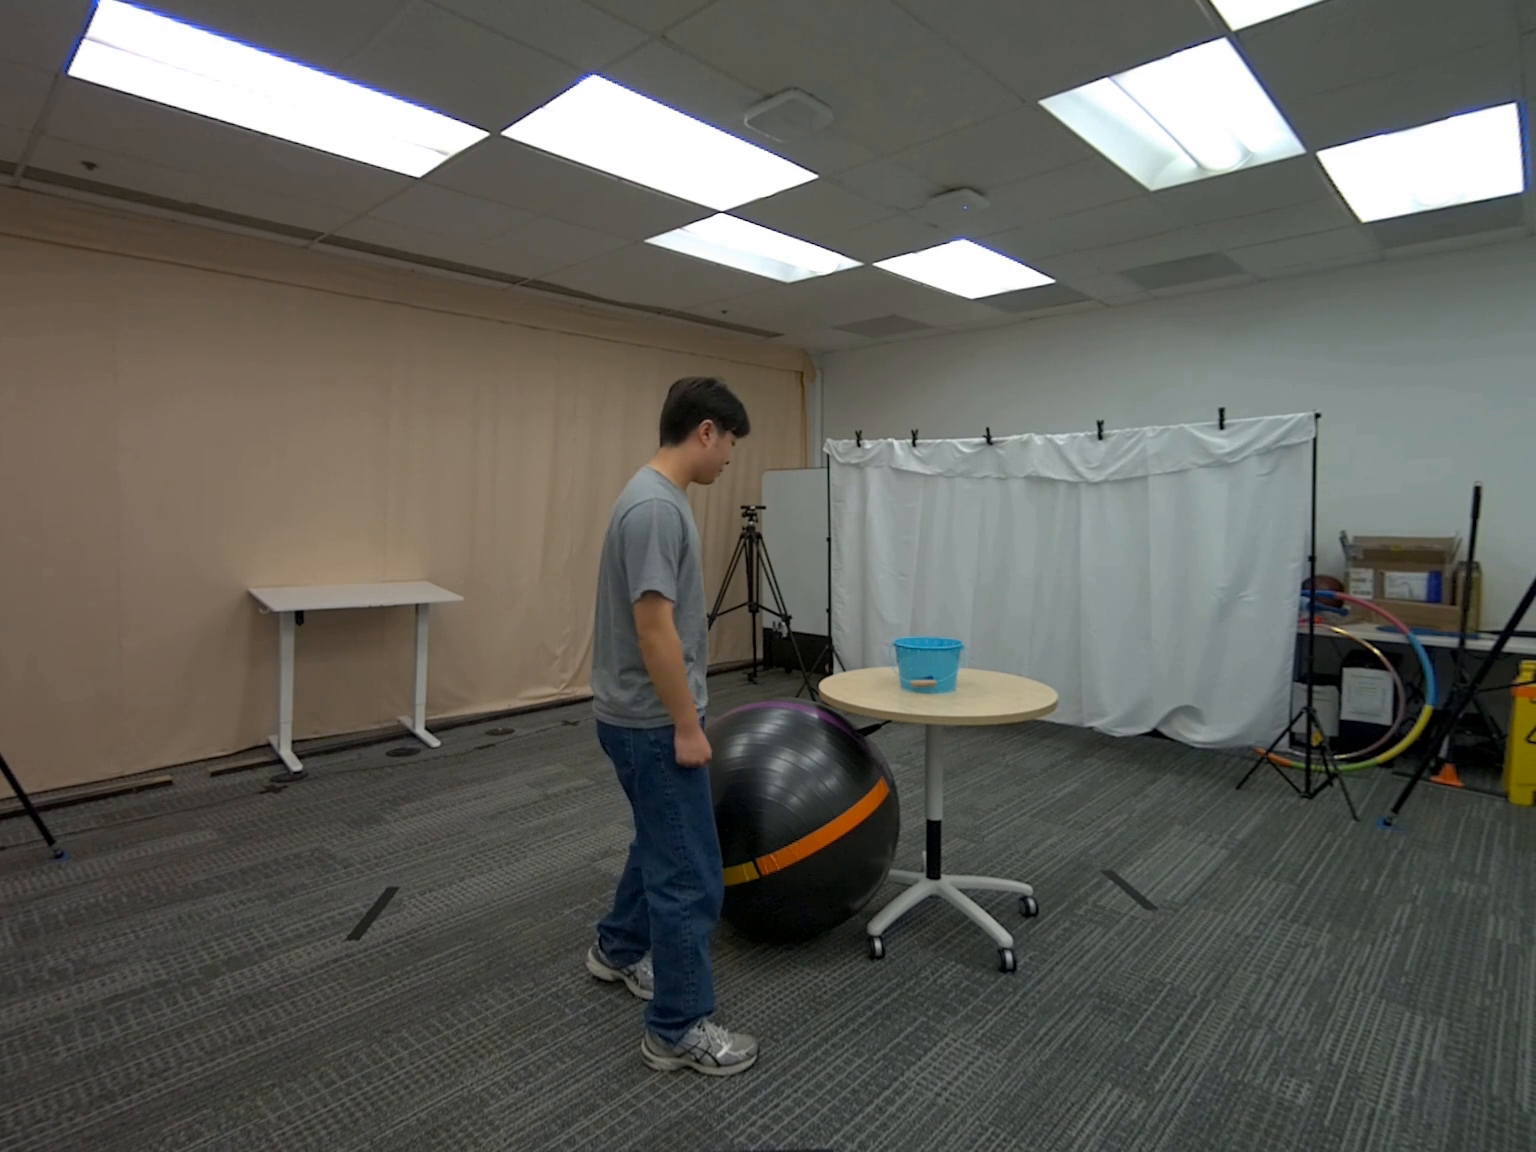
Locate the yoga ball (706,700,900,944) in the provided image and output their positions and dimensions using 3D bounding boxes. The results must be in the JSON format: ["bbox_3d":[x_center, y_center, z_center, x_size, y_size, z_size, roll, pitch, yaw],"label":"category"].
[{"bbox_3d":[0.051,0.792,2.785,0.757,0.756,0.760,0,4,-2],"label":"yoga ball"}]
